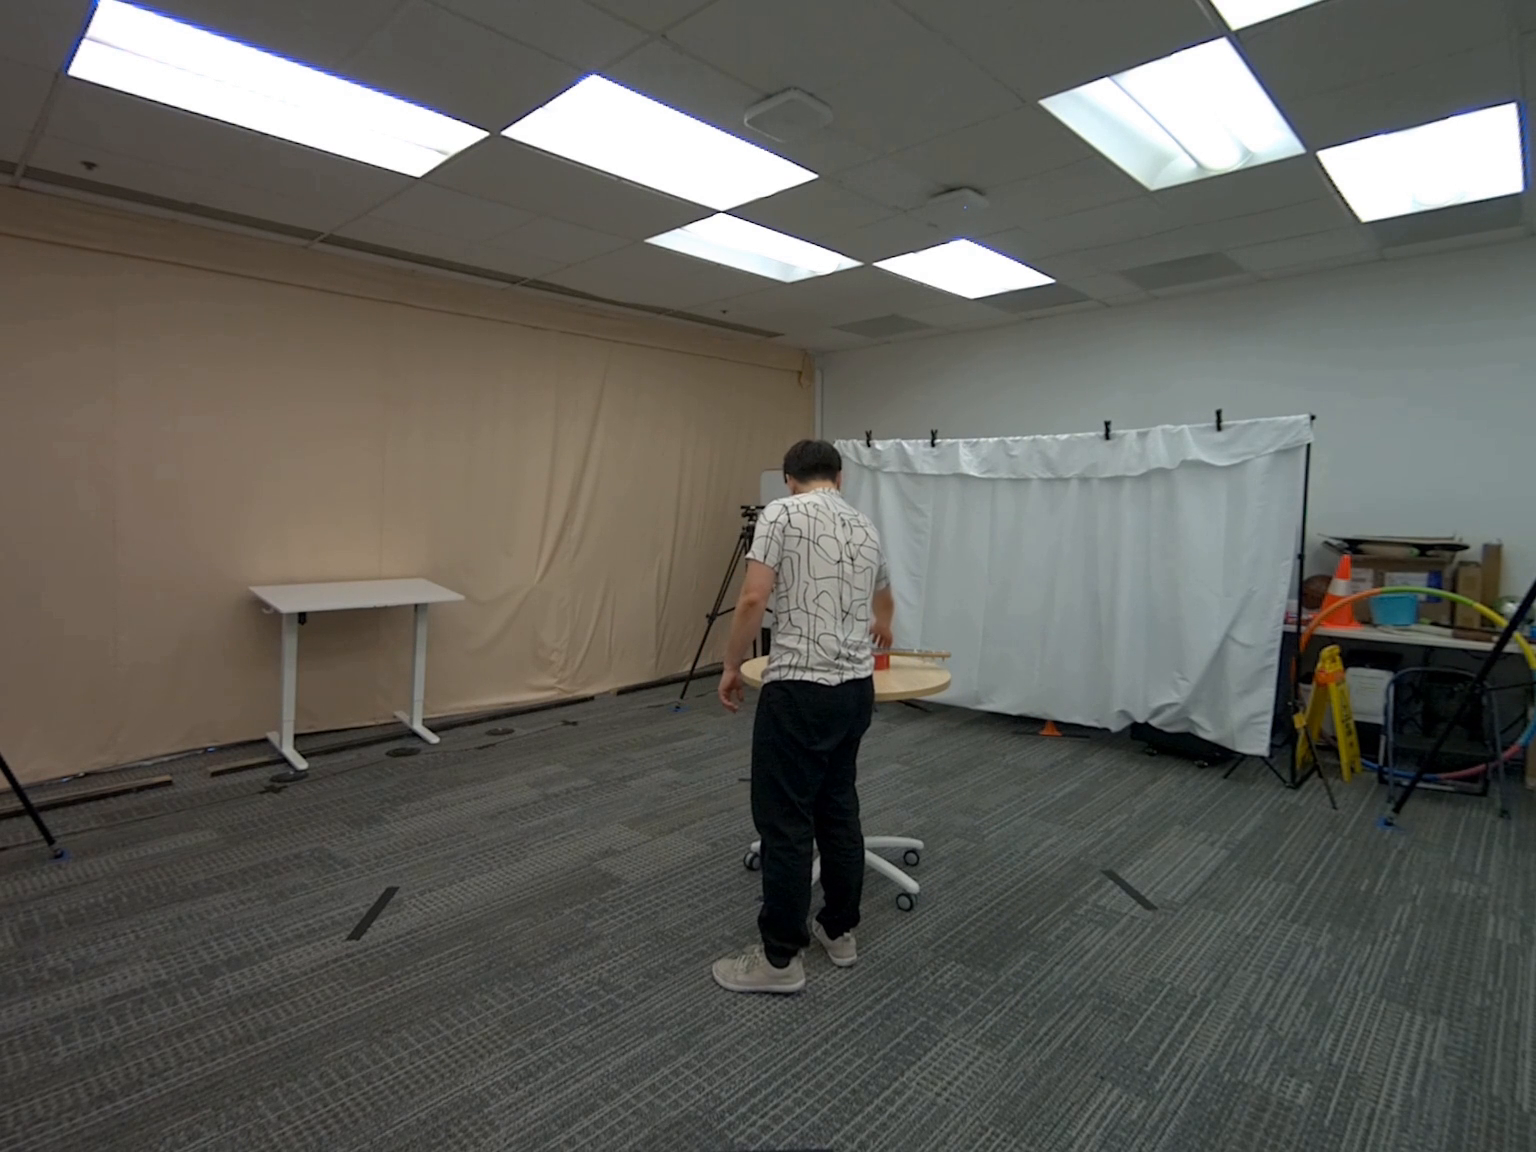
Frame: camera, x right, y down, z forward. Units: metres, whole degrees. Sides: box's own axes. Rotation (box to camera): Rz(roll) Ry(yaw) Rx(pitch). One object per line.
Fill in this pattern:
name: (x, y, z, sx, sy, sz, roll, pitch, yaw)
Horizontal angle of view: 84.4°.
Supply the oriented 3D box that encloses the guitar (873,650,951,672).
guitar: (0.438, 0.313, 3.137, 0.508, 0.070, 0.189, 2, 4, 19)
